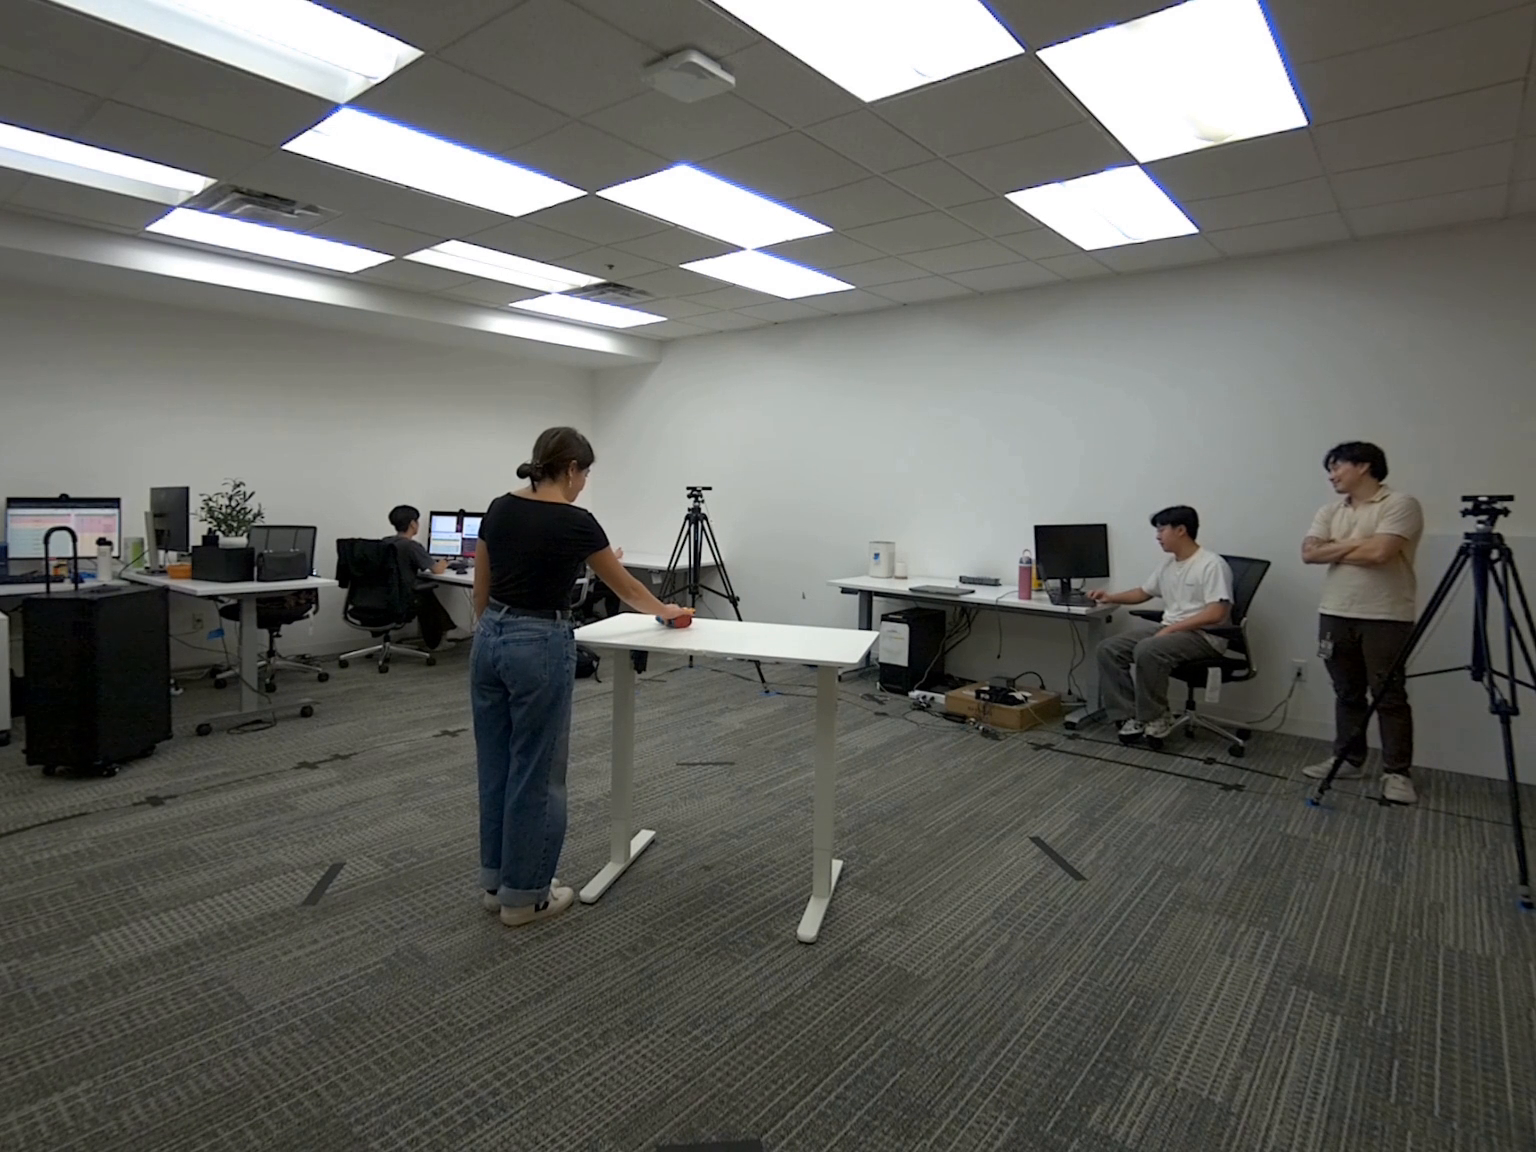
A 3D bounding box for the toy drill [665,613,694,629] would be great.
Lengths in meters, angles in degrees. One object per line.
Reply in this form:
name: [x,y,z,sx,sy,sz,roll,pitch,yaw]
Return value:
toy drill: [-0.320,0.149,3.125,0.165,0.061,0.151,-8,8,-35]
